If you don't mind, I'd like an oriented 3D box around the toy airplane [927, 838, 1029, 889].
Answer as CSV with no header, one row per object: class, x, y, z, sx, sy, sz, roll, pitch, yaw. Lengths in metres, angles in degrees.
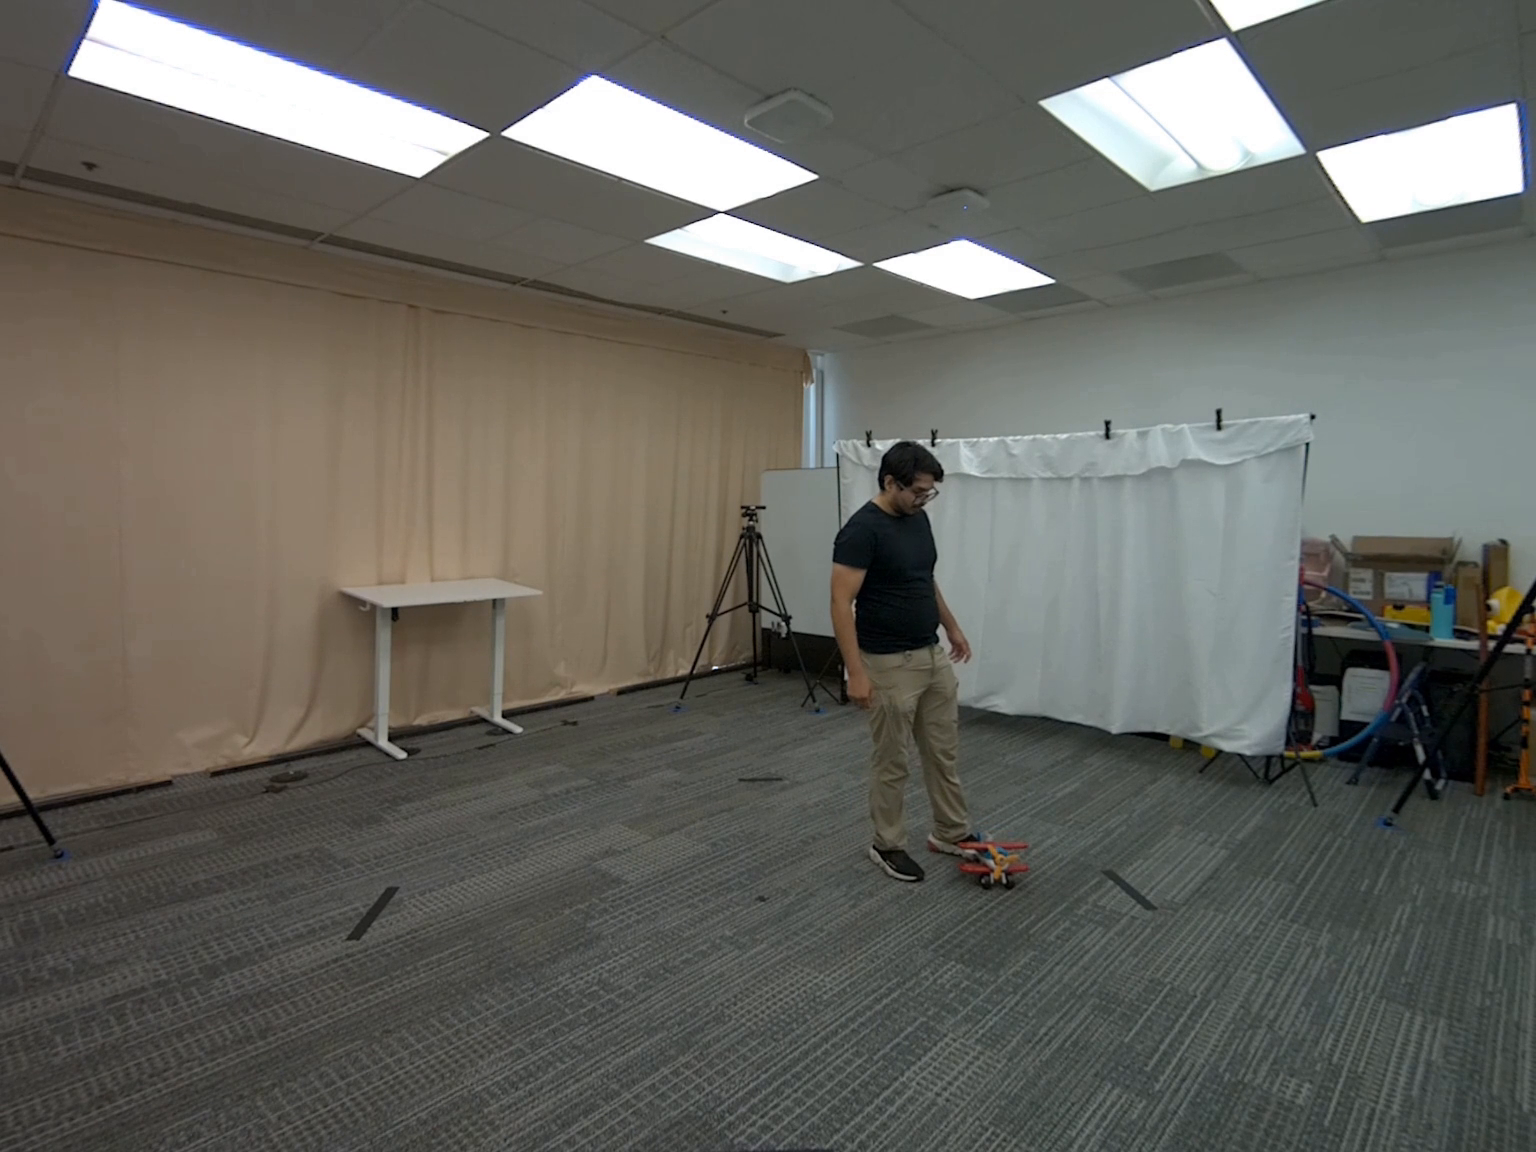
toy airplane,0.808,1.048,3.142,0.244,0.156,0.267,-2,6,-30
